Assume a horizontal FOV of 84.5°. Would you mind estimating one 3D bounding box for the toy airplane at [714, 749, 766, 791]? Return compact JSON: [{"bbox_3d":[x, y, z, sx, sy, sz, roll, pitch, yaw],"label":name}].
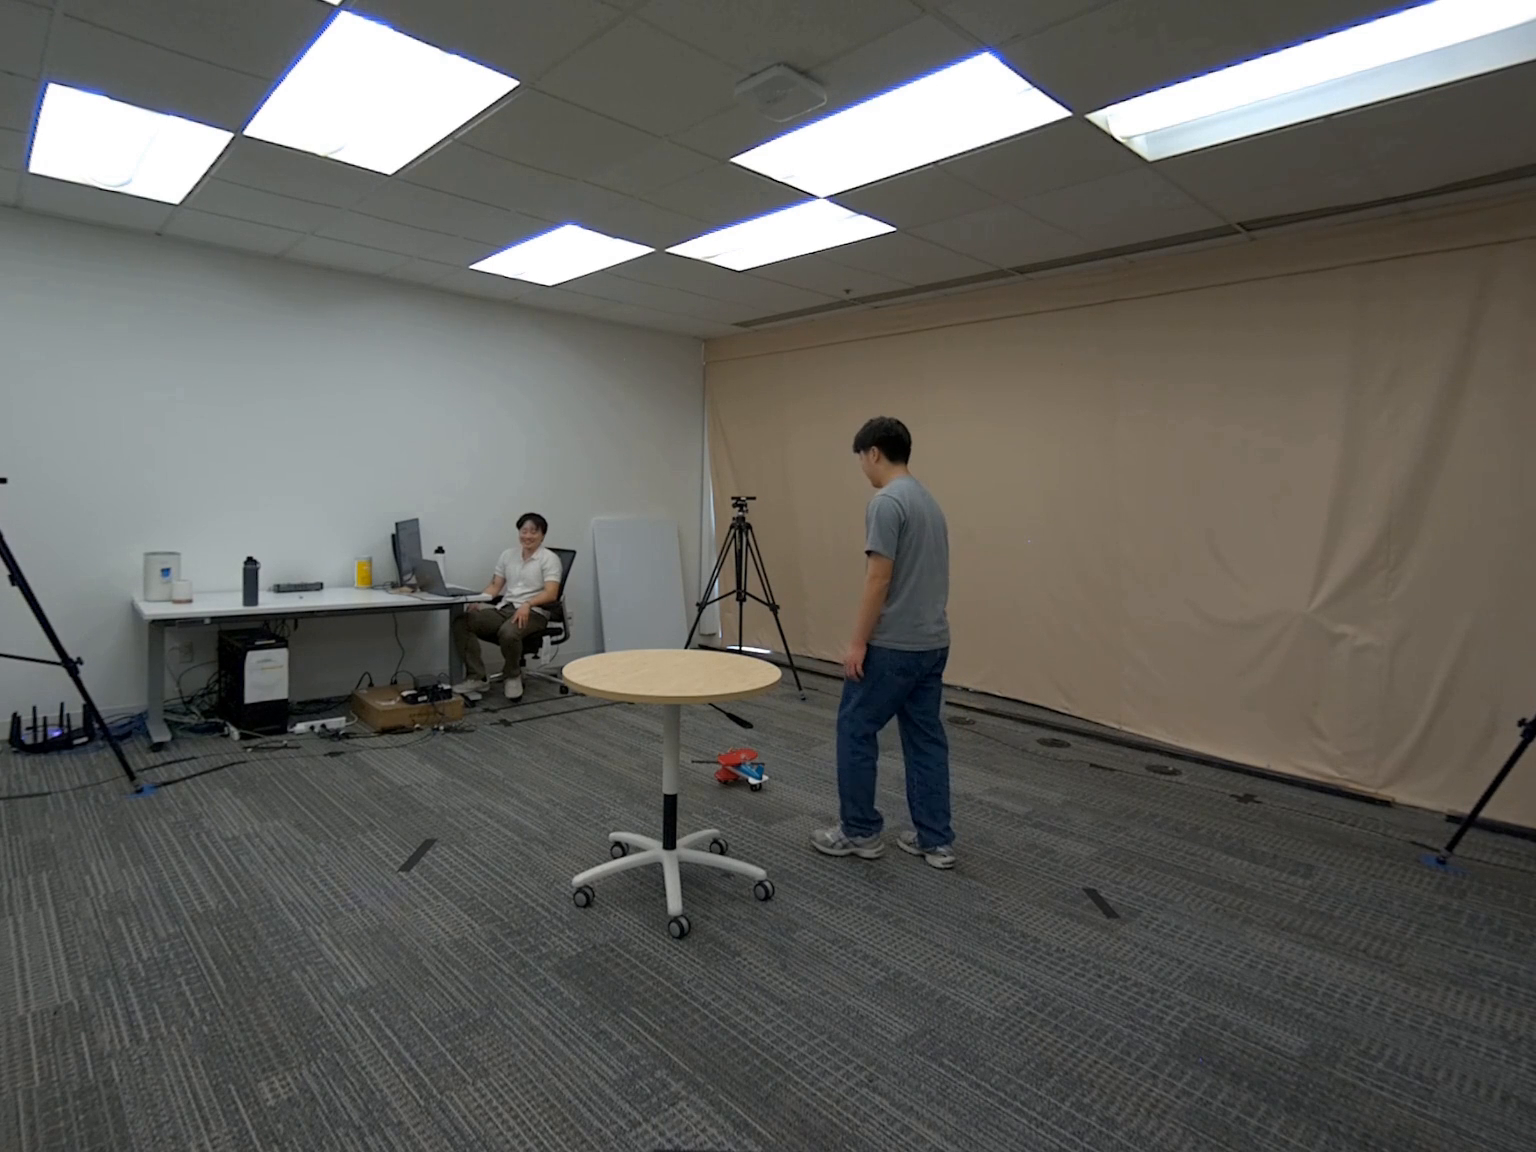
[{"bbox_3d":[-0.132,0.944,4.112,0.262,0.156,0.249,2,5,12],"label":"toy airplane"}]
